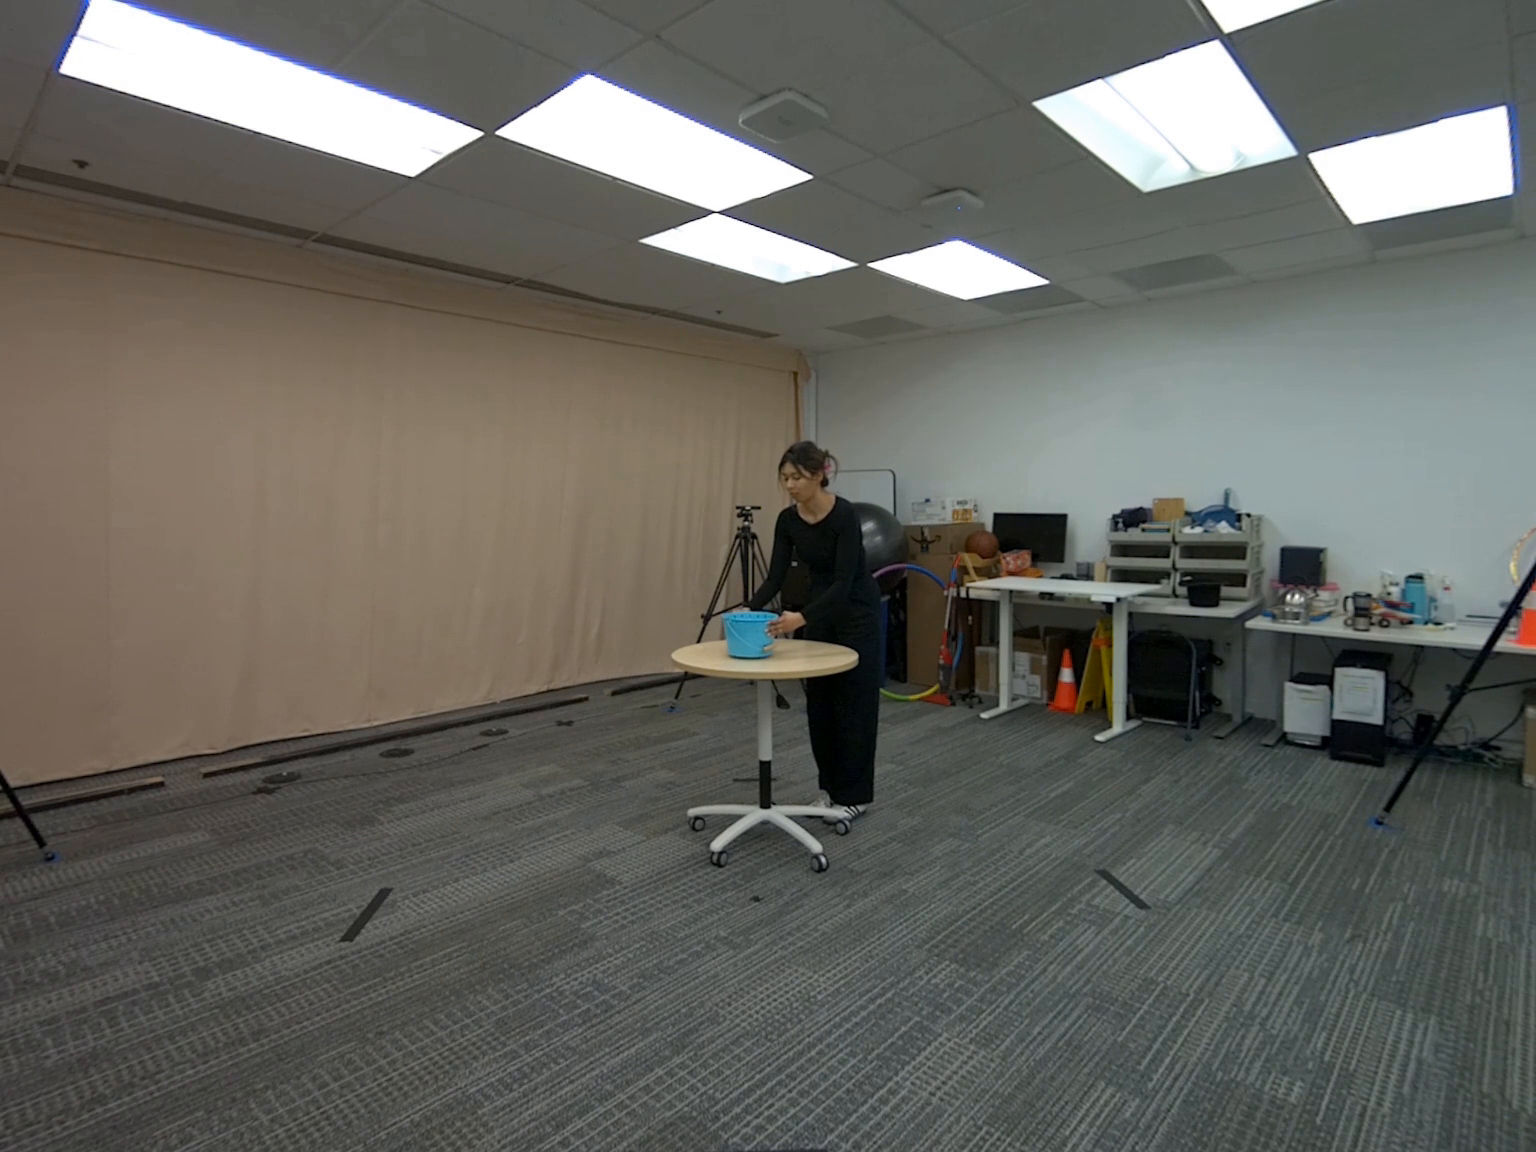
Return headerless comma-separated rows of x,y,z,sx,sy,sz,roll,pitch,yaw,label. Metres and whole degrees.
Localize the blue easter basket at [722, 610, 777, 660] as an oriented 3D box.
-0.068,0.239,3.414,0.243,0.155,0.244,0,3,-2,blue easter basket
